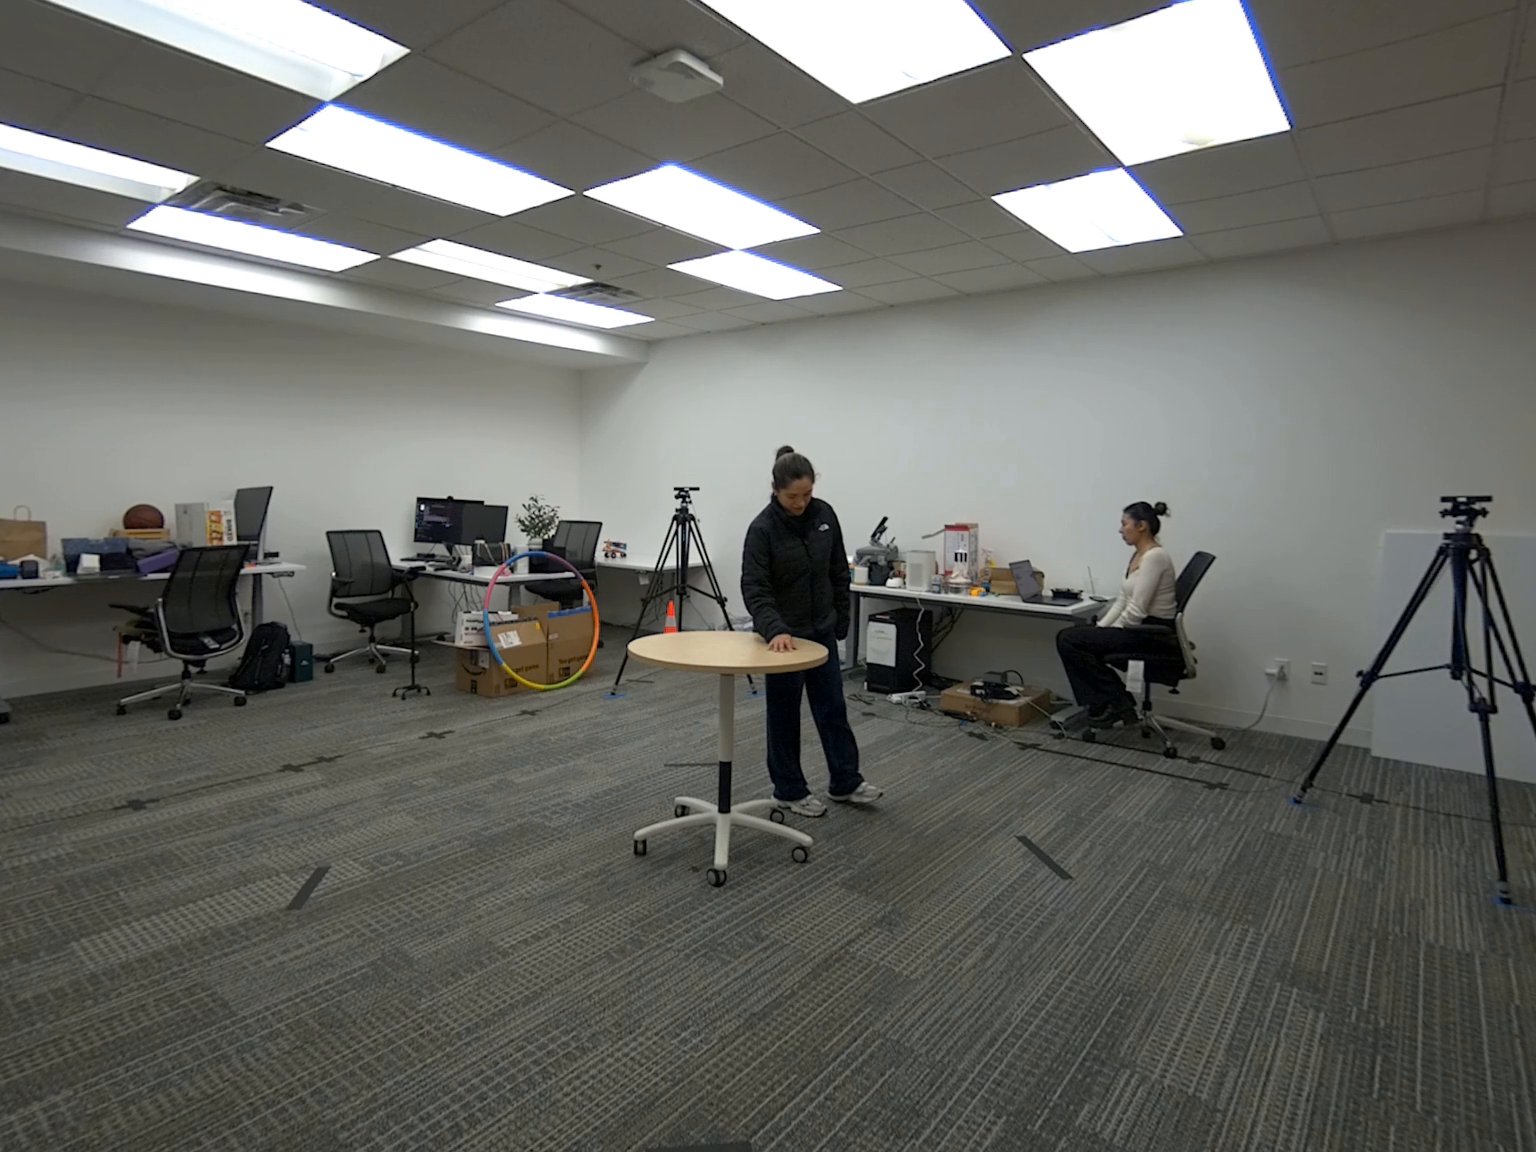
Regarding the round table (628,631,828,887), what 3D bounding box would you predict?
[{"bbox_3d":[-0.139,0.656,3.283,0.784,0.784,0.789,1,4,-2],"label":"round table"}]
